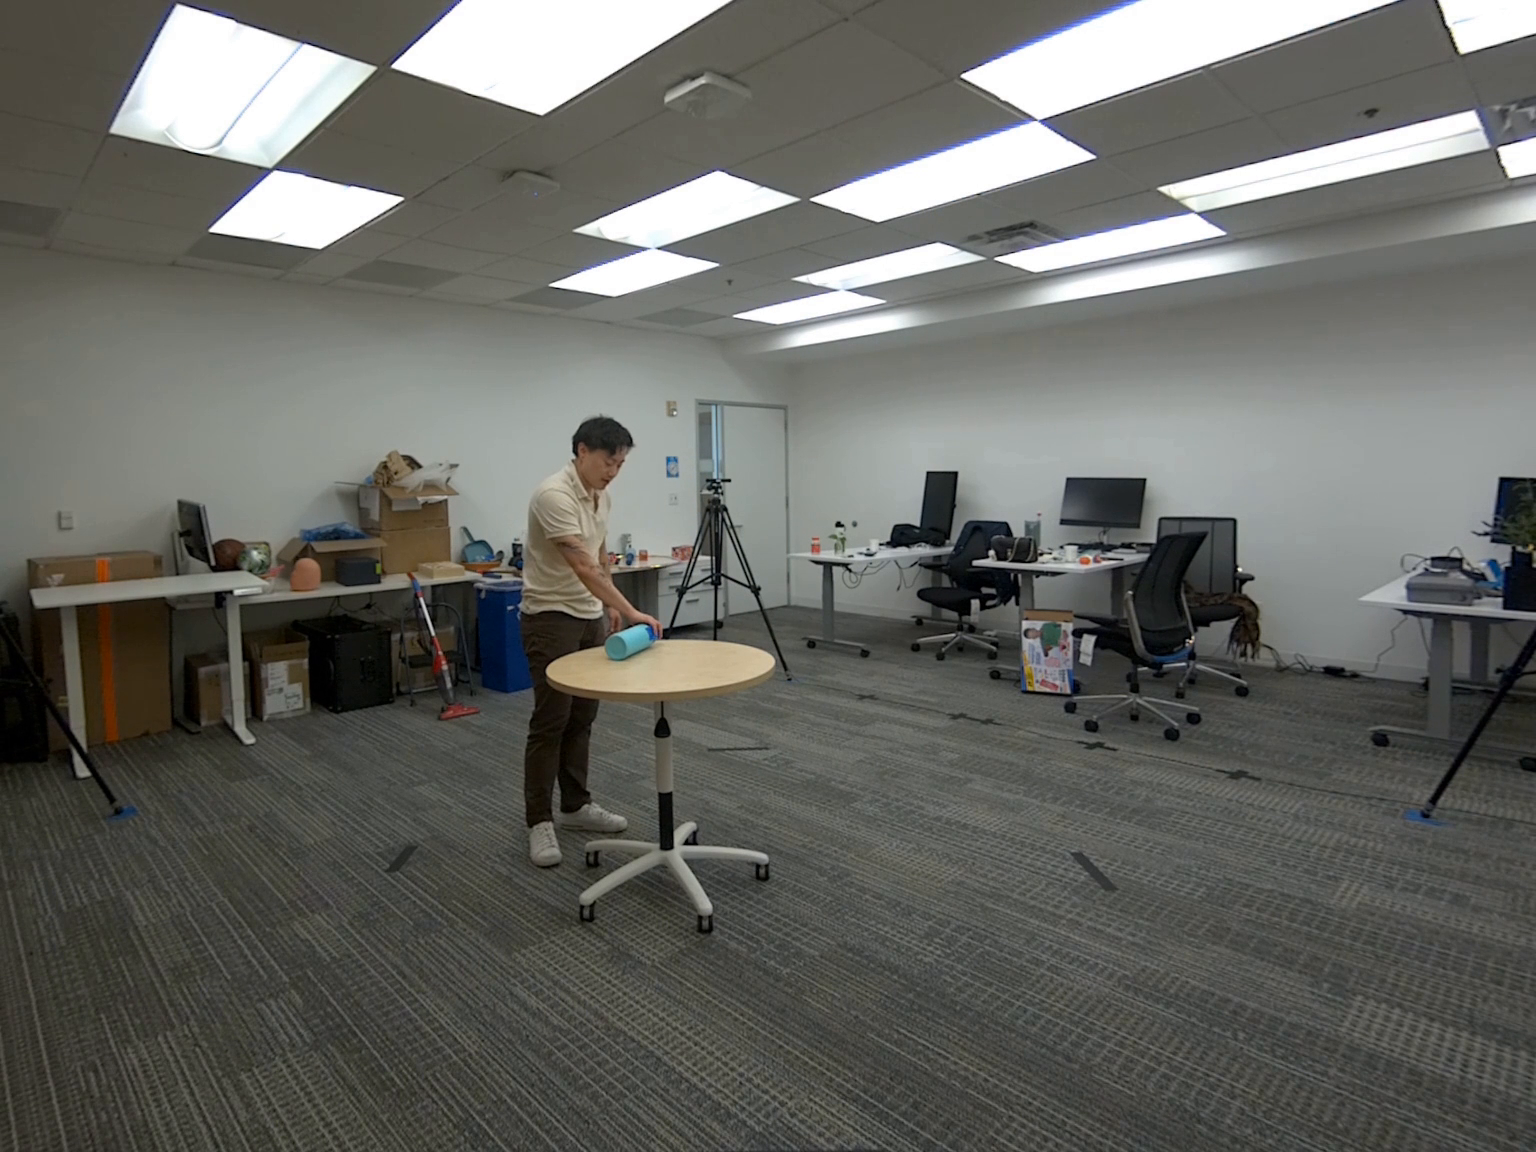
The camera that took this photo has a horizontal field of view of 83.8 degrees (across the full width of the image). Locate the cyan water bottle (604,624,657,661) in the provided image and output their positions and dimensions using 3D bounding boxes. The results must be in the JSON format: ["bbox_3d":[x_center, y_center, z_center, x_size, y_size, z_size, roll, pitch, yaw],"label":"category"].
[{"bbox_3d":[-0.481,0.232,3.048,0.094,0.092,0.280,0,7,17],"label":"cyan water bottle"}]
